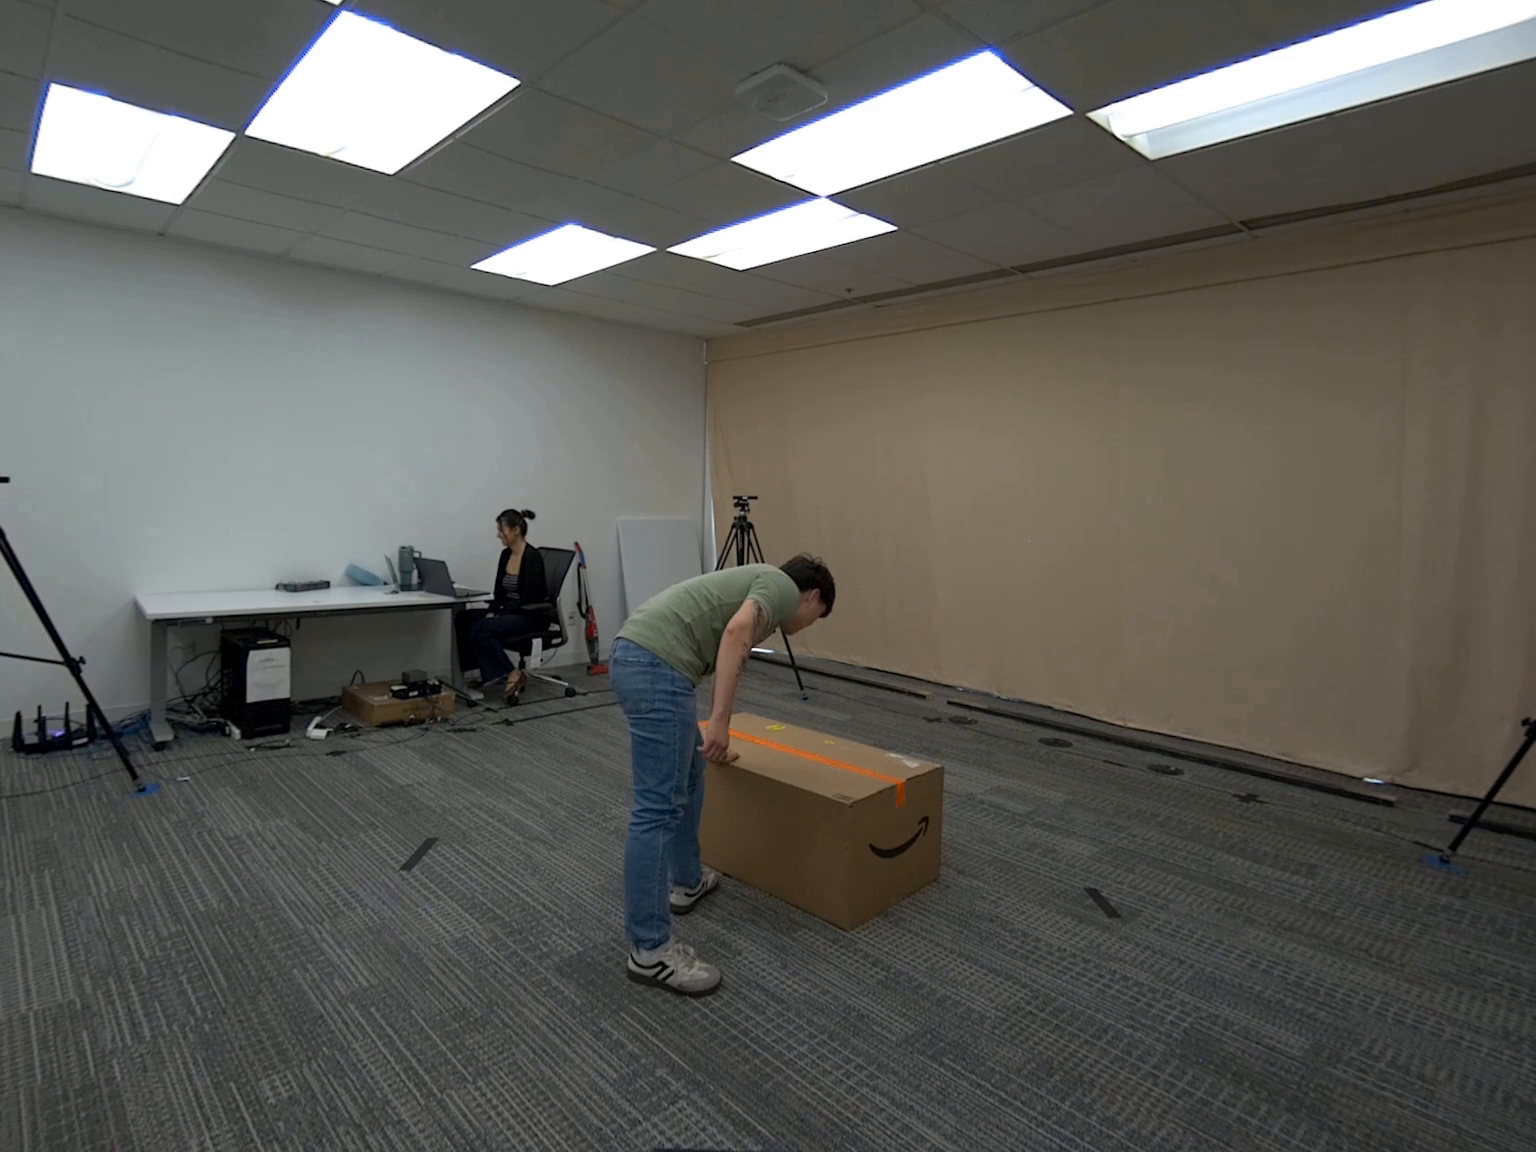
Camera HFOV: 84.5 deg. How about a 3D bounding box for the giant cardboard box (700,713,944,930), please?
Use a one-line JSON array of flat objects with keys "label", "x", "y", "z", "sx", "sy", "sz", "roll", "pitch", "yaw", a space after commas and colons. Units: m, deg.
[{"label": "giant cardboard box", "x": 0.070, "y": 0.881, "z": 3.259, "sx": 1.052, "sy": 0.425, "sz": 0.564, "roll": 6, "pitch": 6, "yaw": 44}]
